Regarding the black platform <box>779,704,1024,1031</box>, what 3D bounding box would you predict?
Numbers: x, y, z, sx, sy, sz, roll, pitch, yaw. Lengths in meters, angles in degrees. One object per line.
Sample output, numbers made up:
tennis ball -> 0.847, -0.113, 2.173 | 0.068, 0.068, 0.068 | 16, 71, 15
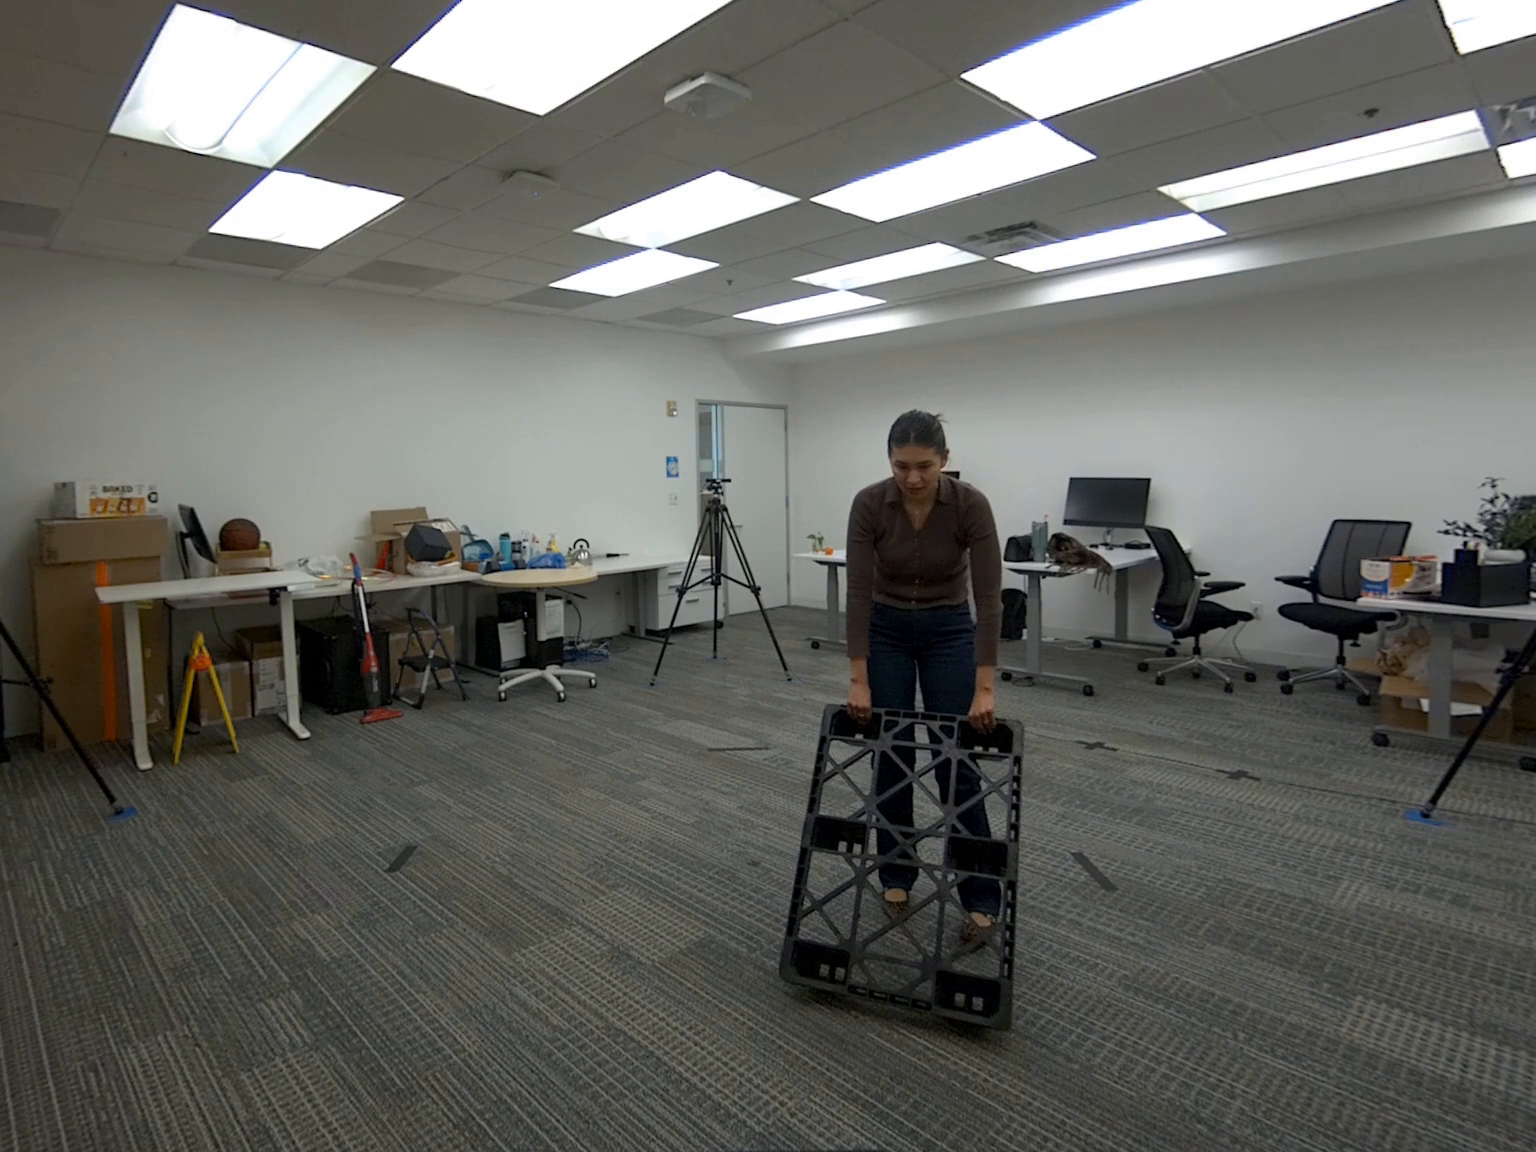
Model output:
black platform -> 0.405, 0.780, 2.432 | 0.617, 0.819, 0.138 | 1, -32, 20
